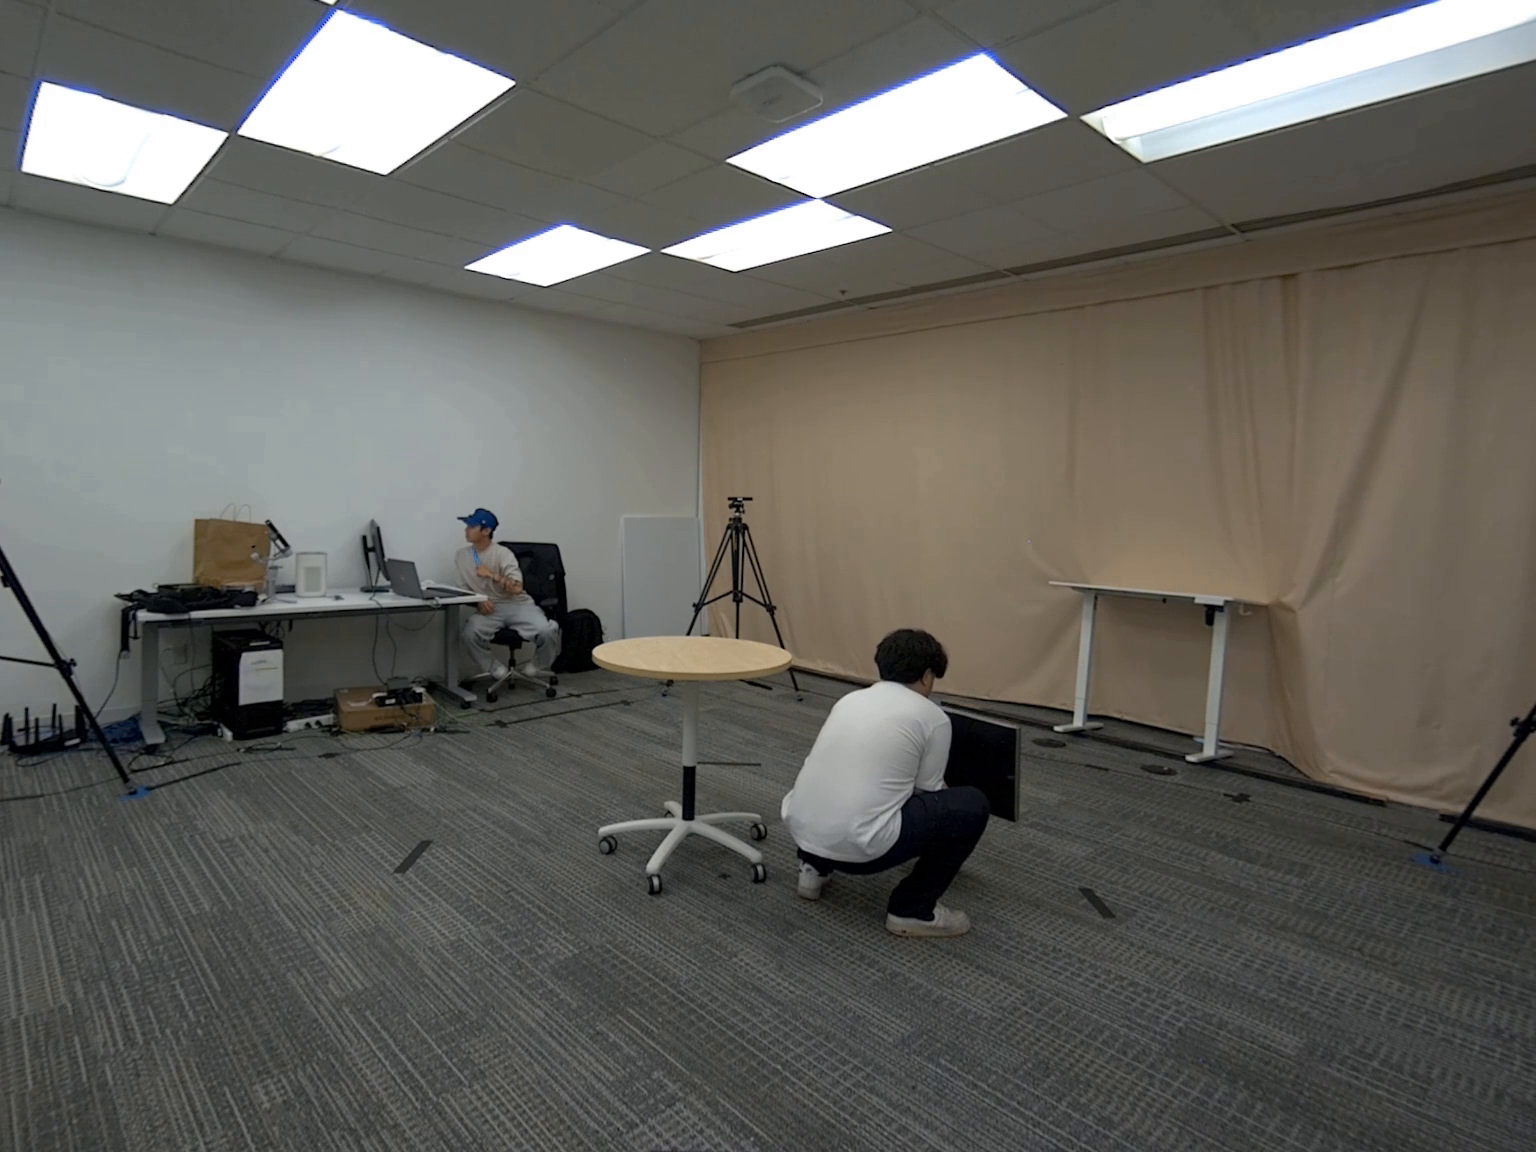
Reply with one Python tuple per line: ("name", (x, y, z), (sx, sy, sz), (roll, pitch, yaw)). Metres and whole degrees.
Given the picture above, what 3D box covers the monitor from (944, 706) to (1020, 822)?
("monitor", (0.631, 0.769, 3.155), (0.581, 0.551, 0.205), (9, 10, 43))
